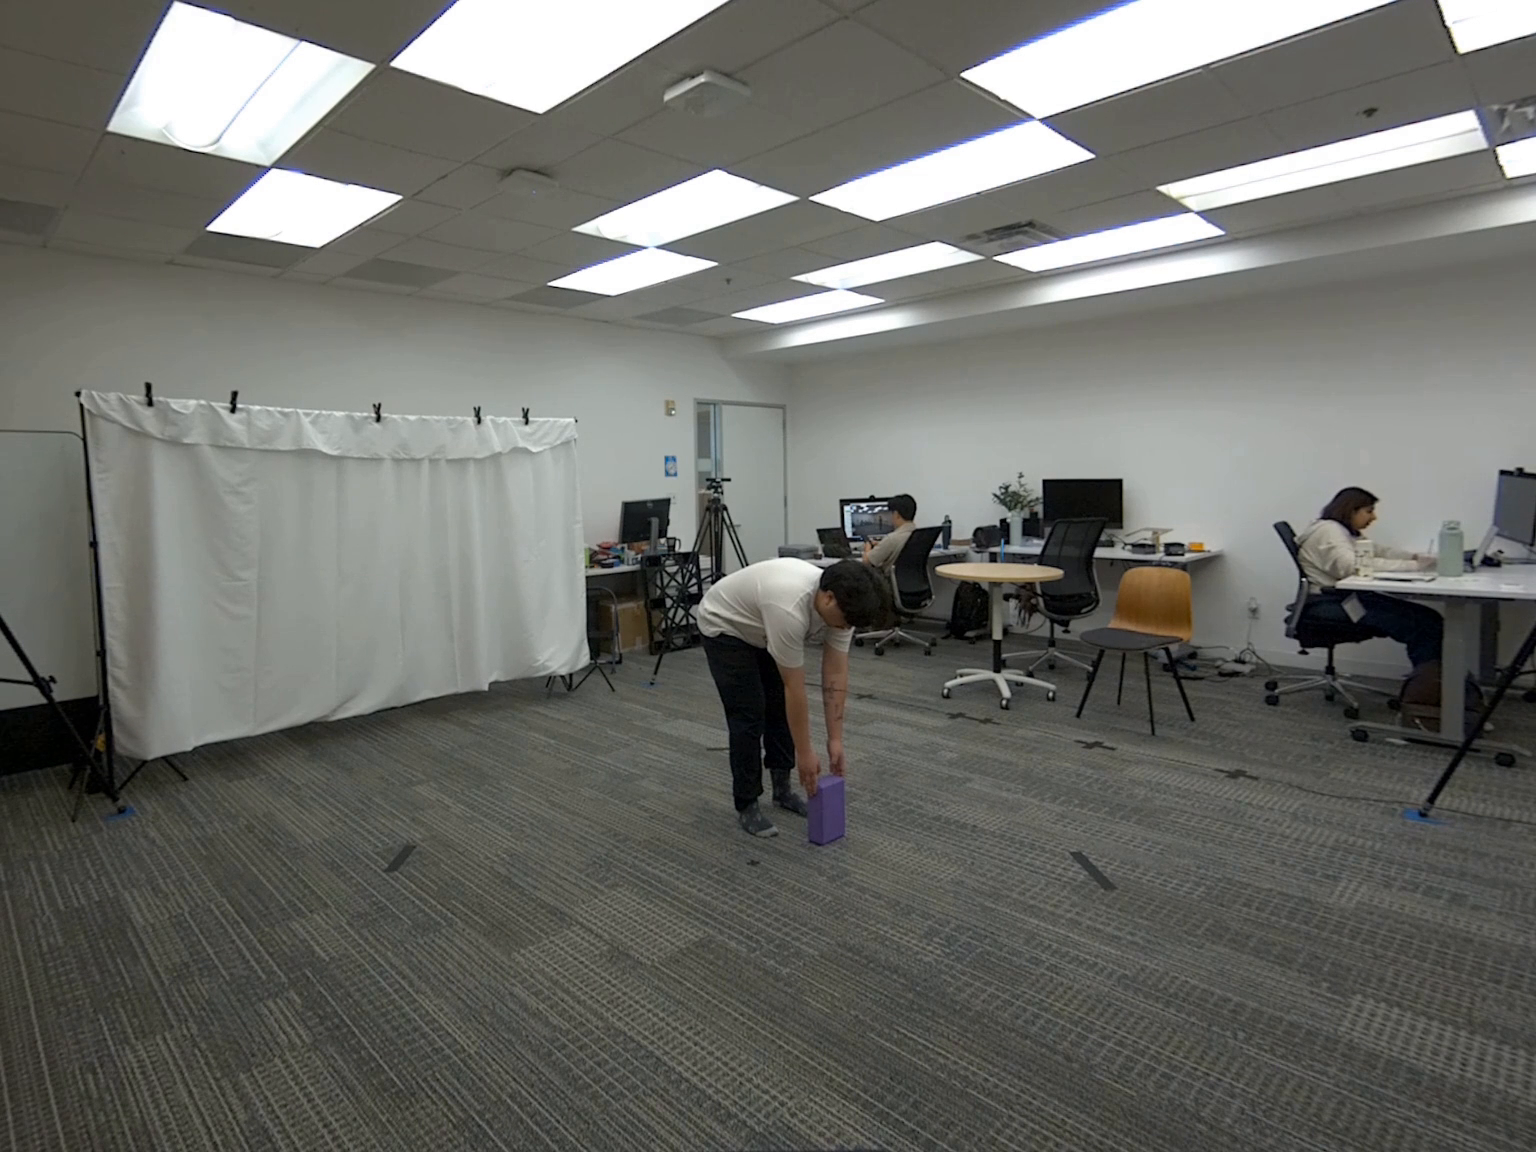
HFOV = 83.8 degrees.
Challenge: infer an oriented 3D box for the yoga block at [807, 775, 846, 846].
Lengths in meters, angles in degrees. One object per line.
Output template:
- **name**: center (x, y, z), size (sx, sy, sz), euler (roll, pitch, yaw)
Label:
- **yoga block**: center (0.229, 0.904, 3.306), size (0.078, 0.229, 0.145), euler (-1, 1, 44)
